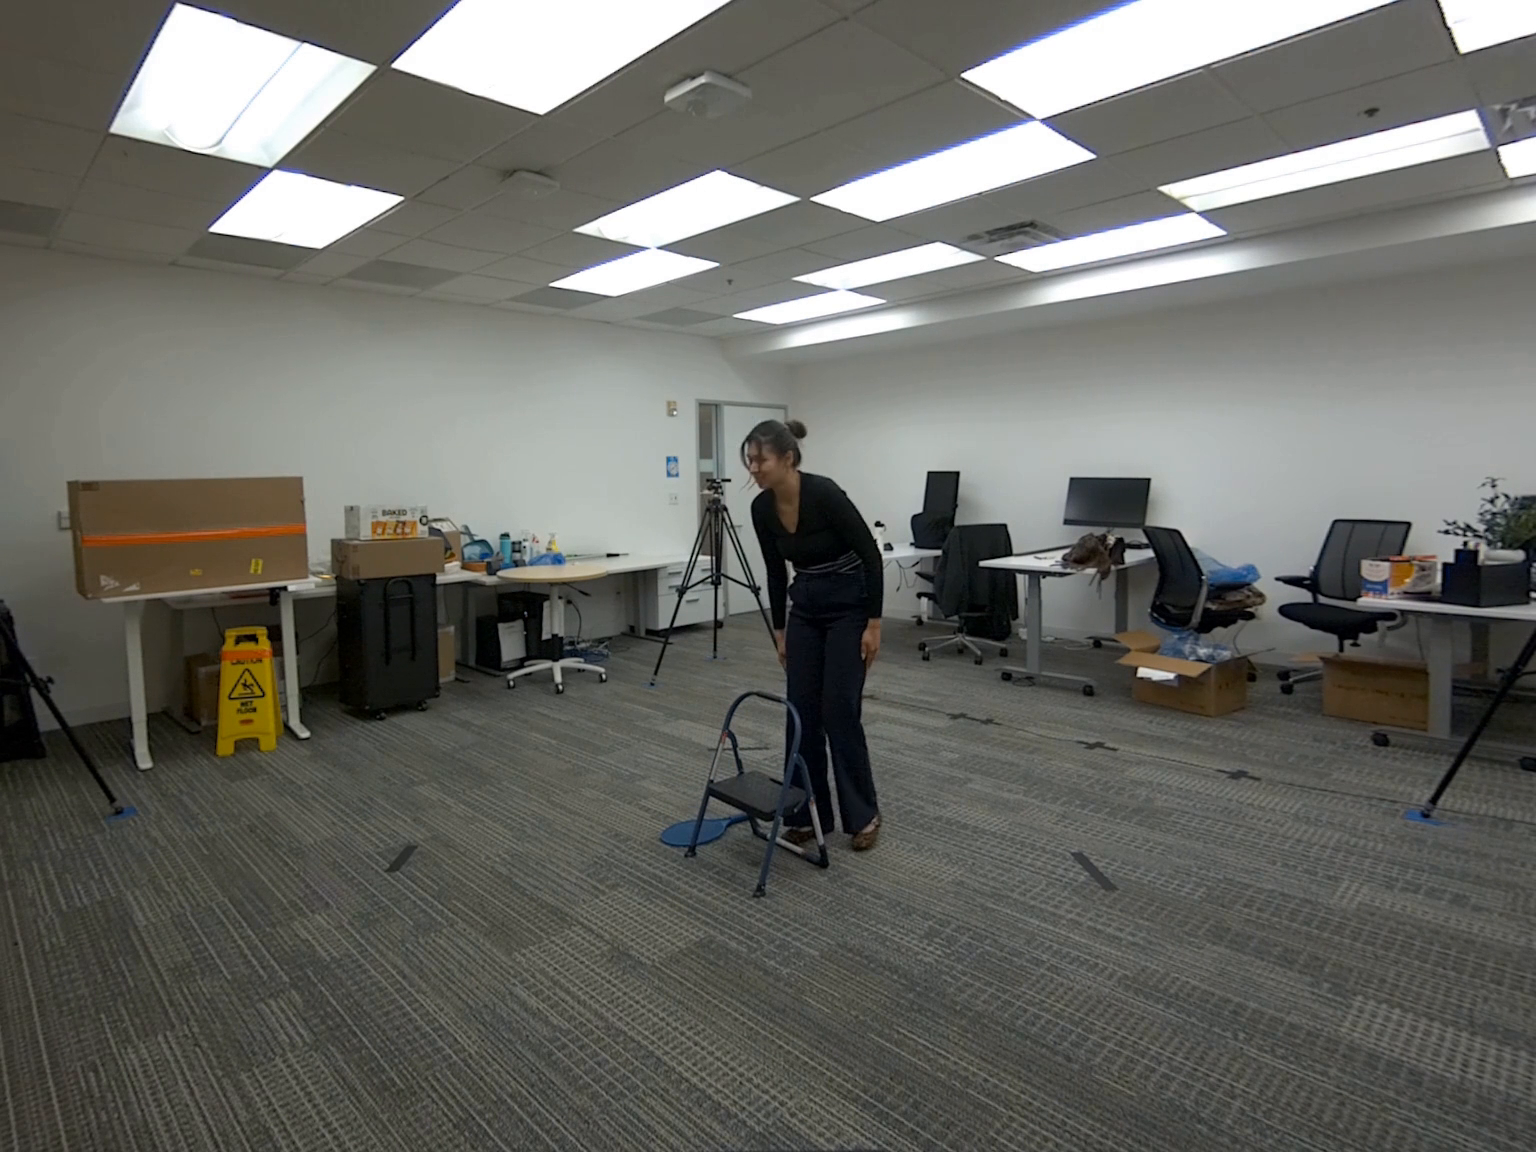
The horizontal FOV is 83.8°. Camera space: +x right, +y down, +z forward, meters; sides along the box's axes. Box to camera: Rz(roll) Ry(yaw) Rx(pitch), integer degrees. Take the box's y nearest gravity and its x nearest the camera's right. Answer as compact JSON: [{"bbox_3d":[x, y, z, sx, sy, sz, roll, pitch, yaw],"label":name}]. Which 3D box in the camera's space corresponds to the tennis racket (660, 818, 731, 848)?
[{"bbox_3d":[-0.229,0.998,3.406,0.422,0.031,0.220,-7,8,-36],"label":"tennis racket"}]
